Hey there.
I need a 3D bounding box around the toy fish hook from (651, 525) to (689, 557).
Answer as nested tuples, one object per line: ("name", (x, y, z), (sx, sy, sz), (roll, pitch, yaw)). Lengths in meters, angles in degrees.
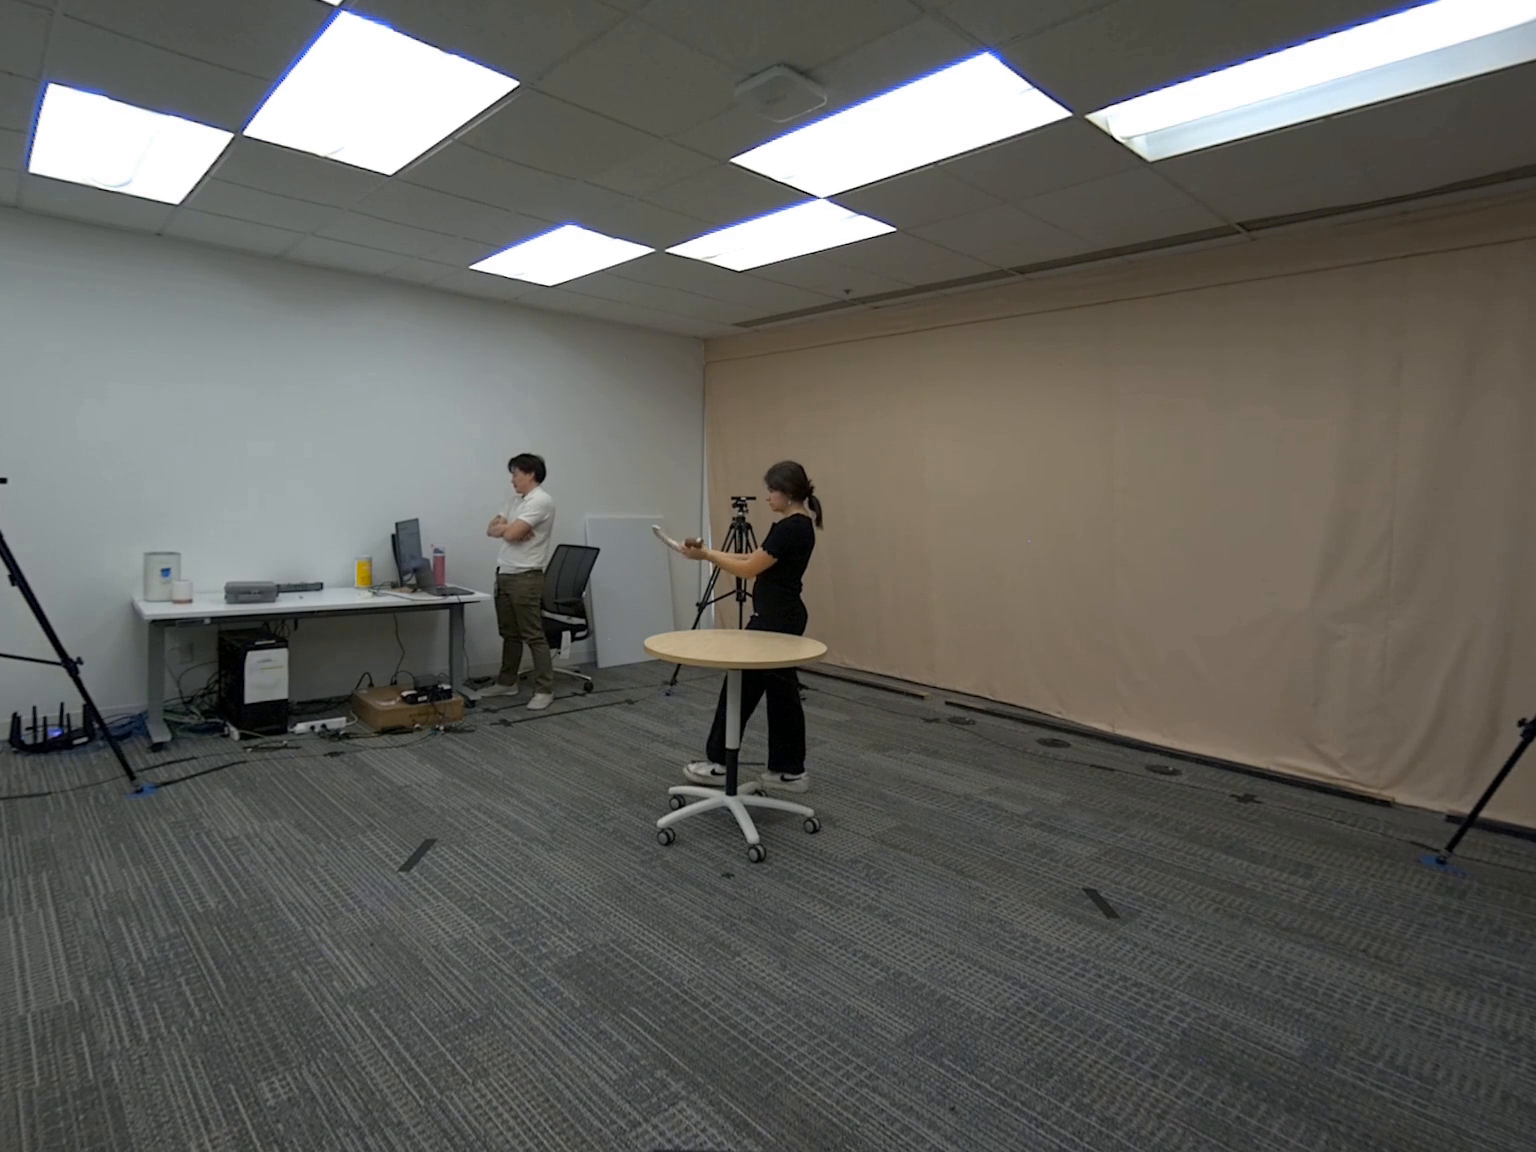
("toy fish hook", (-0.437, -0.176, 4.006), (0.221, 0.048, 0.513), (32, -11, -16))
